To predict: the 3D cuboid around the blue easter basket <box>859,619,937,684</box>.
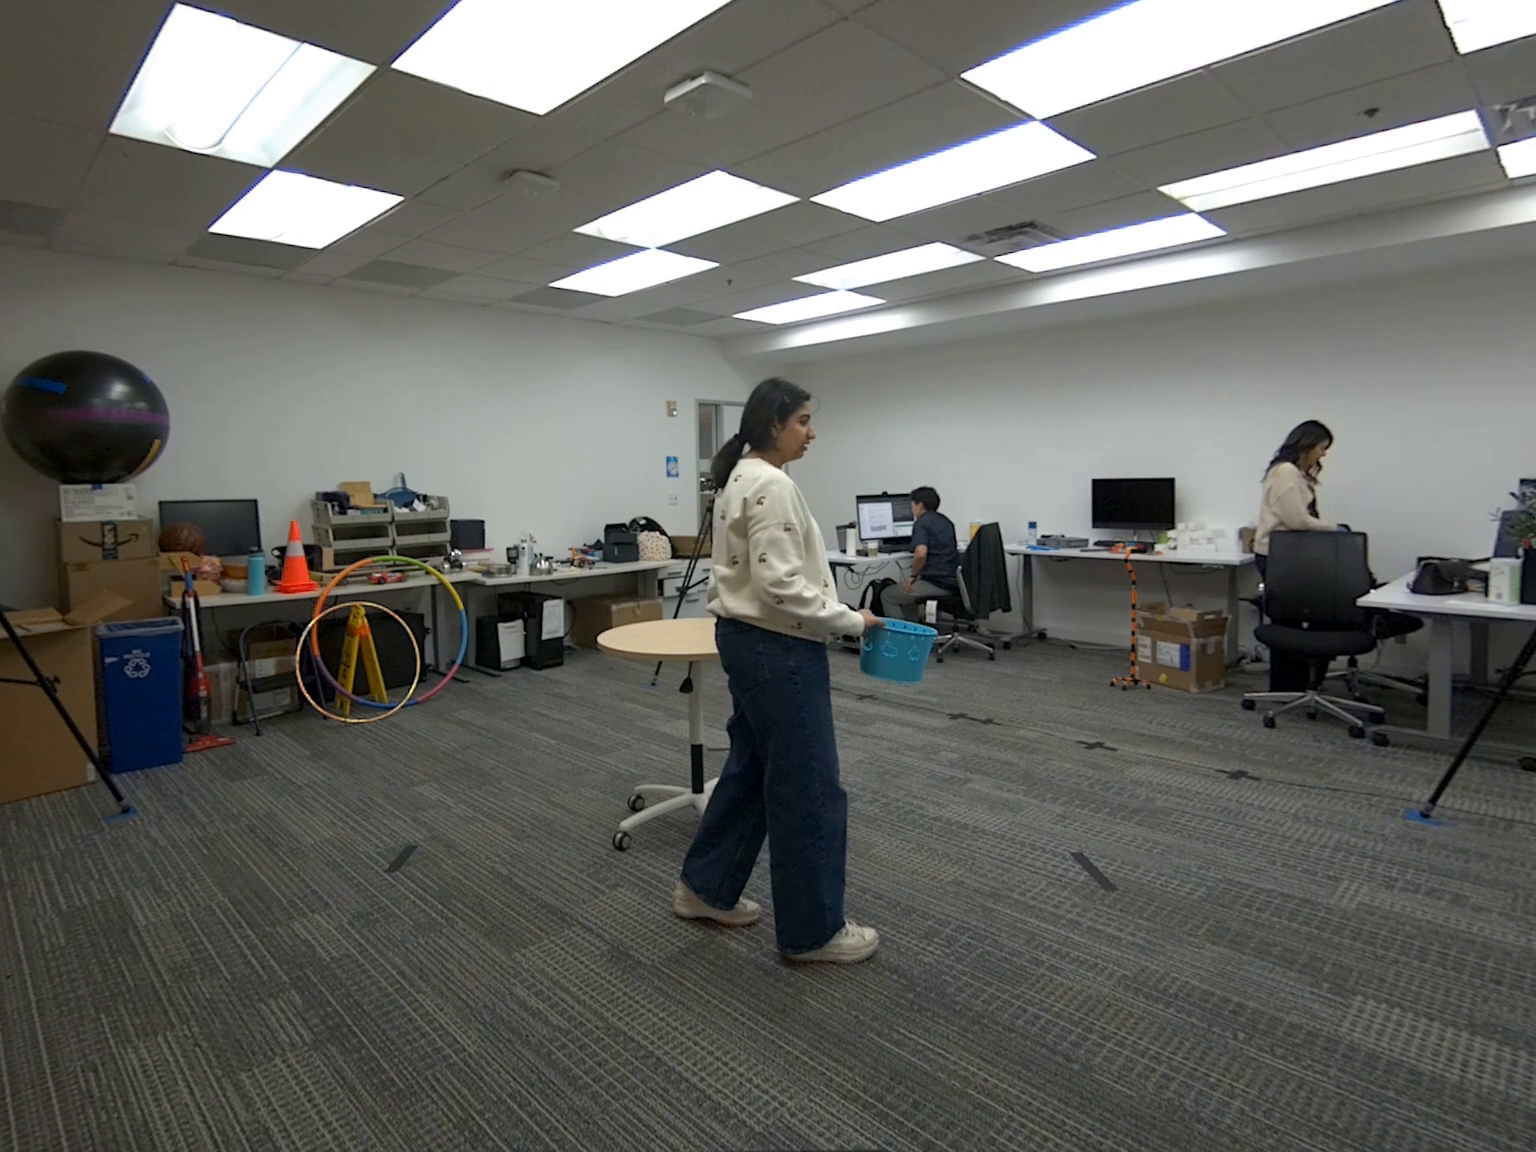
[{"bbox_3d":[0.374,0.222,2.511,0.243,0.155,0.245,8,6,-2],"label":"blue easter basket"}]
